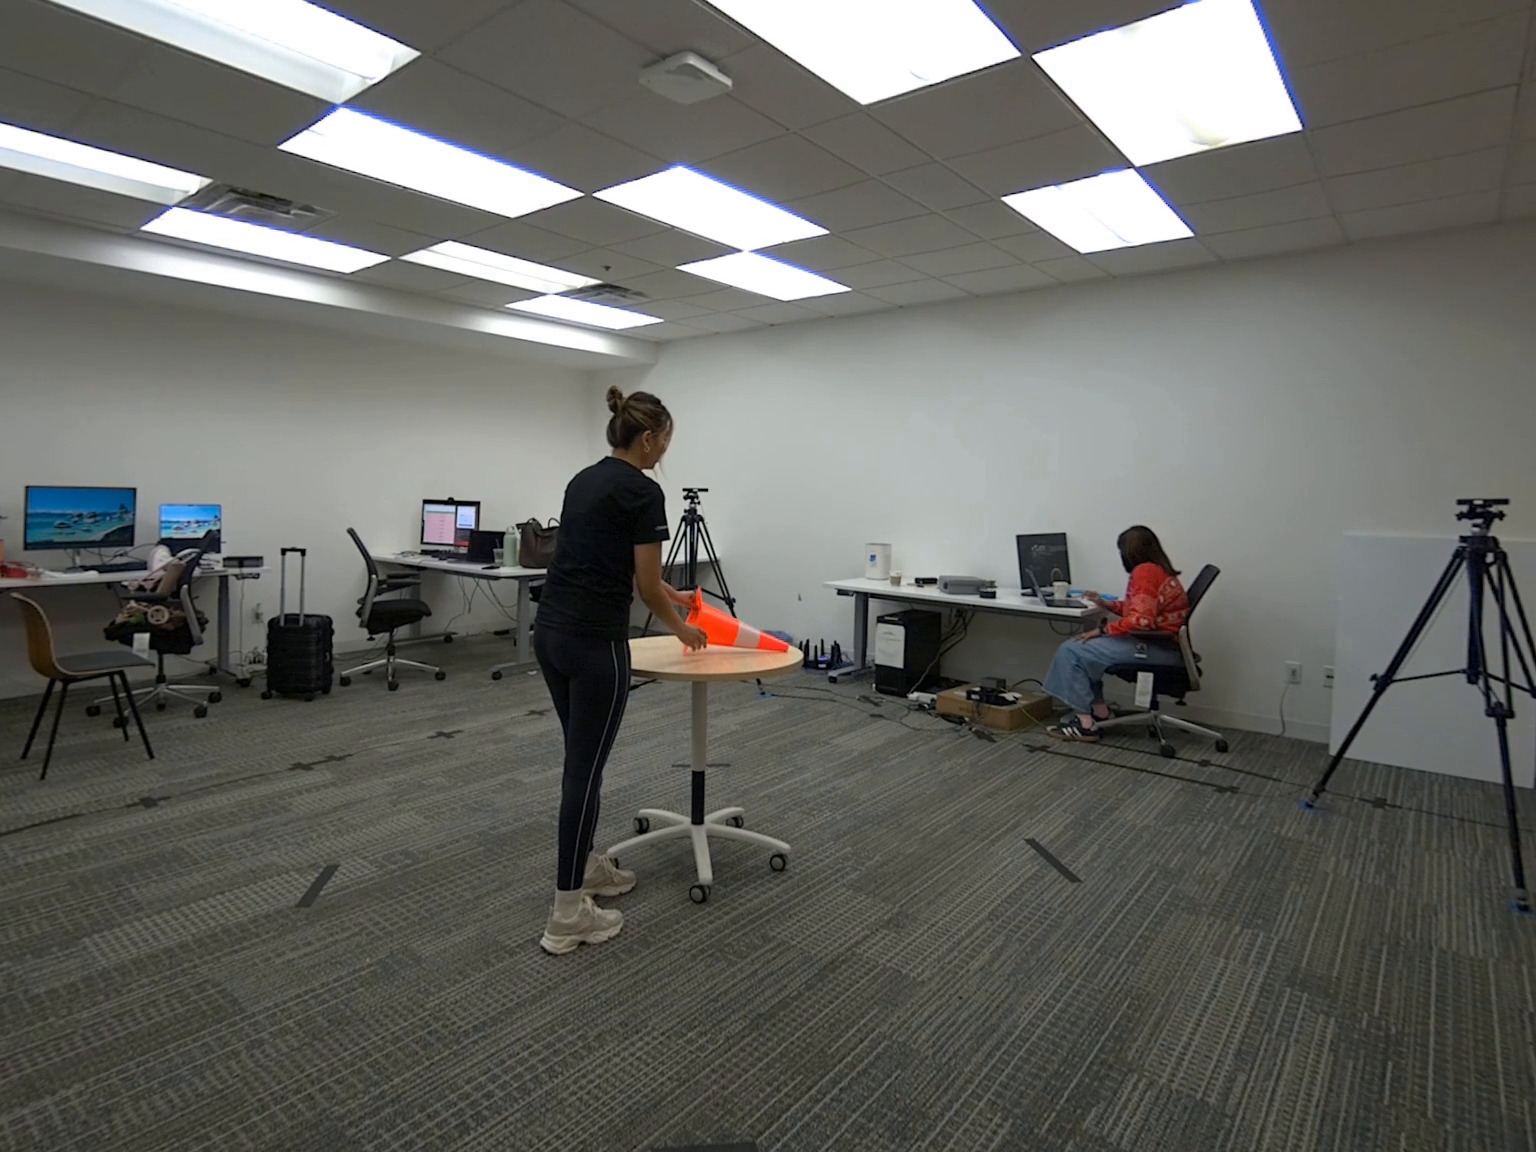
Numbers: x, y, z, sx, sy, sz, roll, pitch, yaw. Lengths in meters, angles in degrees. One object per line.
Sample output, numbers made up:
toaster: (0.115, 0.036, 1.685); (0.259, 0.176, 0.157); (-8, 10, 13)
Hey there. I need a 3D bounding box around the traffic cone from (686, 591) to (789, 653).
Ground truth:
traffic cone: (-0.111, 0.217, 3.155); (0.379, 0.202, 0.208); (17, 28, -9)
